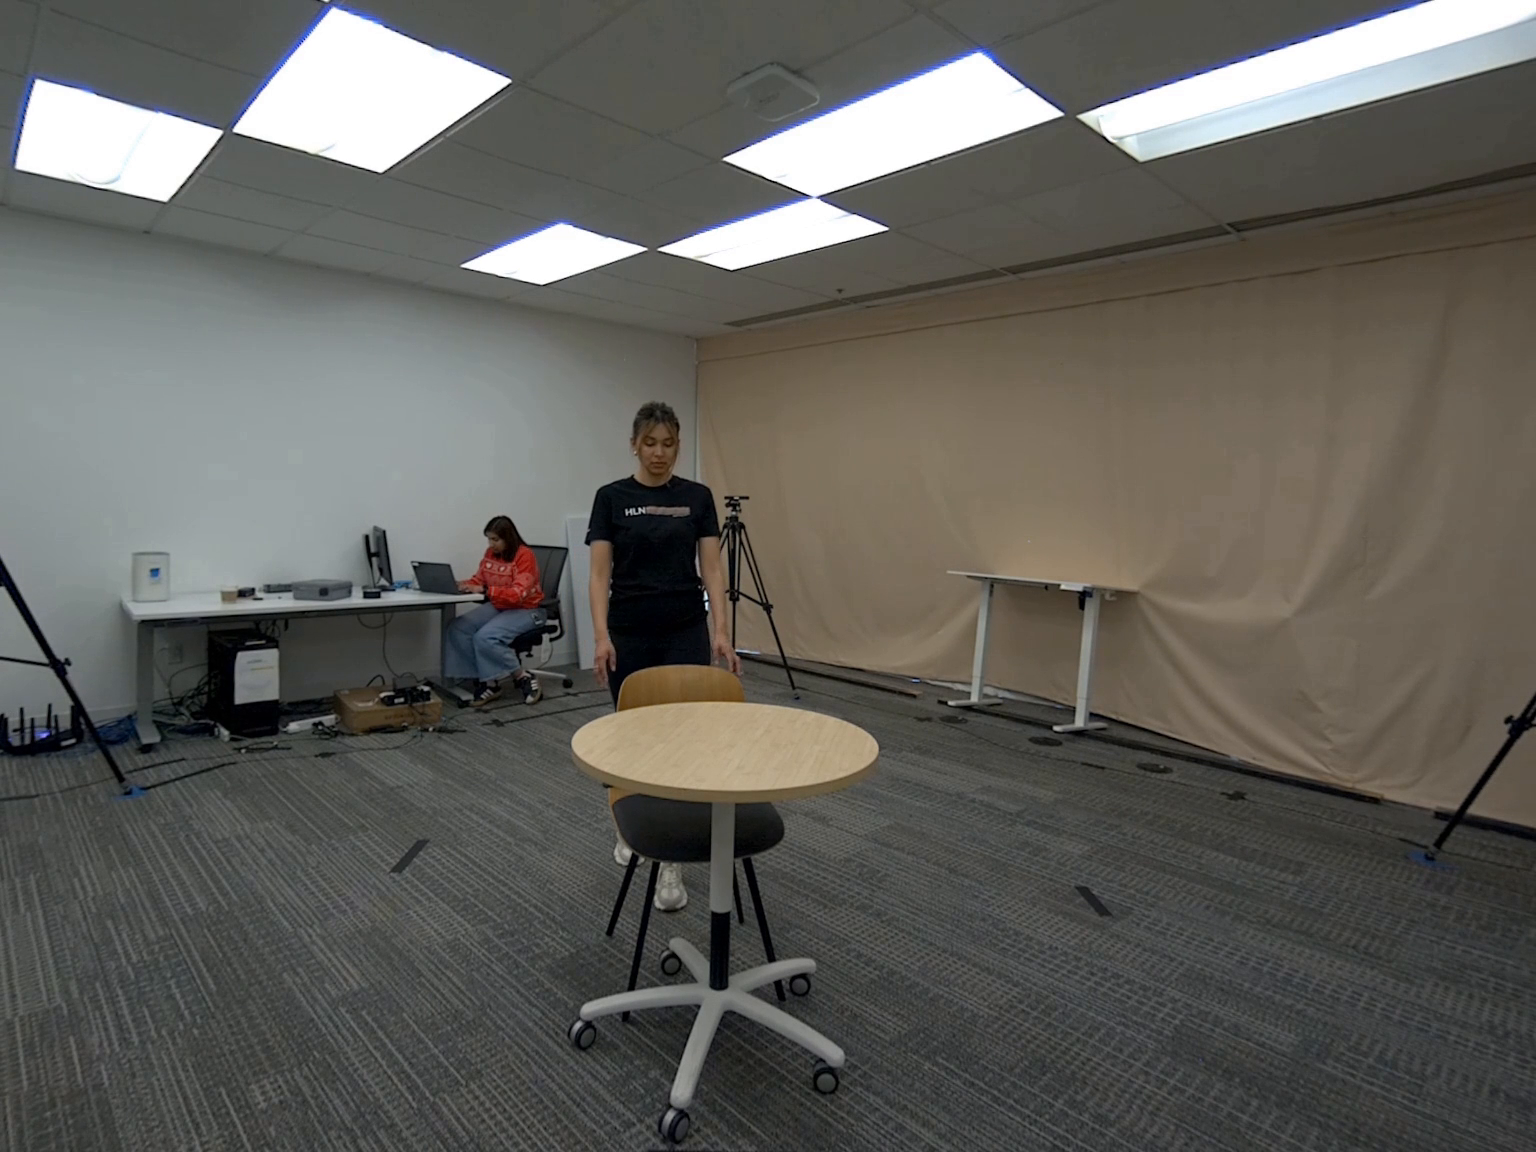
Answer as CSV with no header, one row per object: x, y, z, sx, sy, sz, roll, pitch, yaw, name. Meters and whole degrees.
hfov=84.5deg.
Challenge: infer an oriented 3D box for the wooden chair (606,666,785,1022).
-0.221,0.734,2.456,0.472,0.877,0.529,1,0,-16,wooden chair
